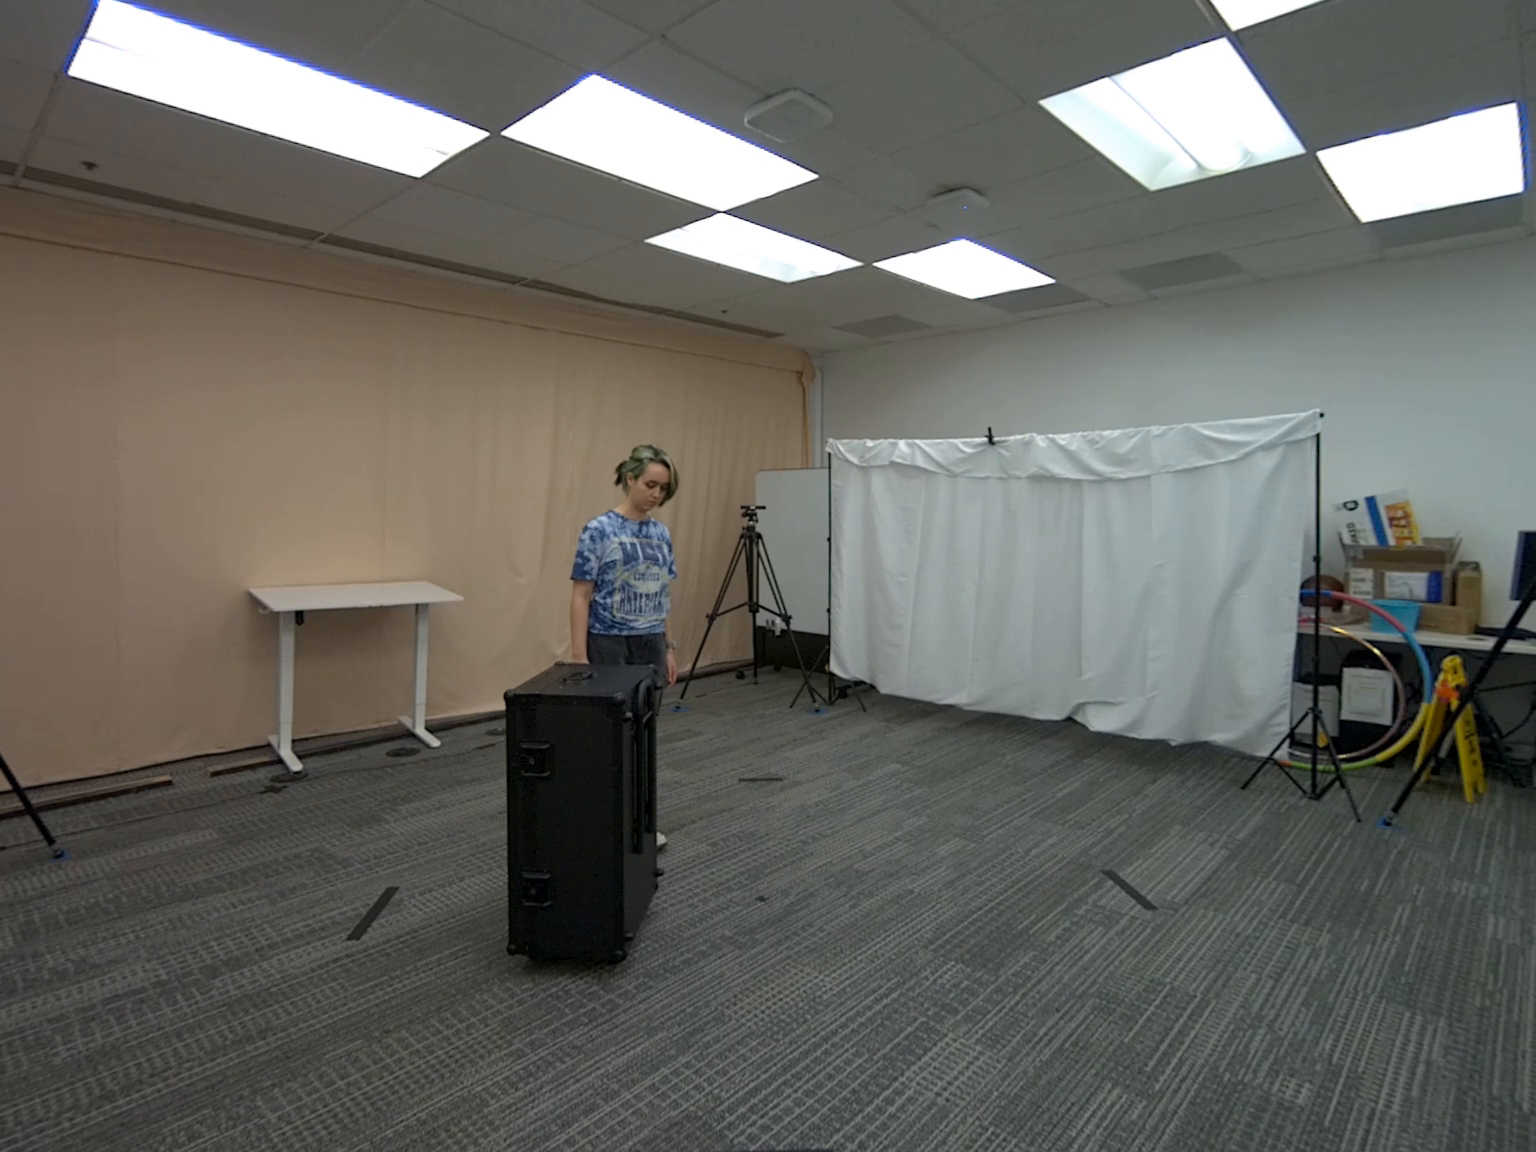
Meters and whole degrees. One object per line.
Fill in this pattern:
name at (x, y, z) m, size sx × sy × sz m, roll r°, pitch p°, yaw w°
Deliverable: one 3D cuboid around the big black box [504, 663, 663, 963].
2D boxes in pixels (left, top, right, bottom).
big black box at (-0.563, 0.745, 2.695) m, size 0.400 × 0.860 × 0.517 m, roll 2°, pitch 2°, yaw 7°
